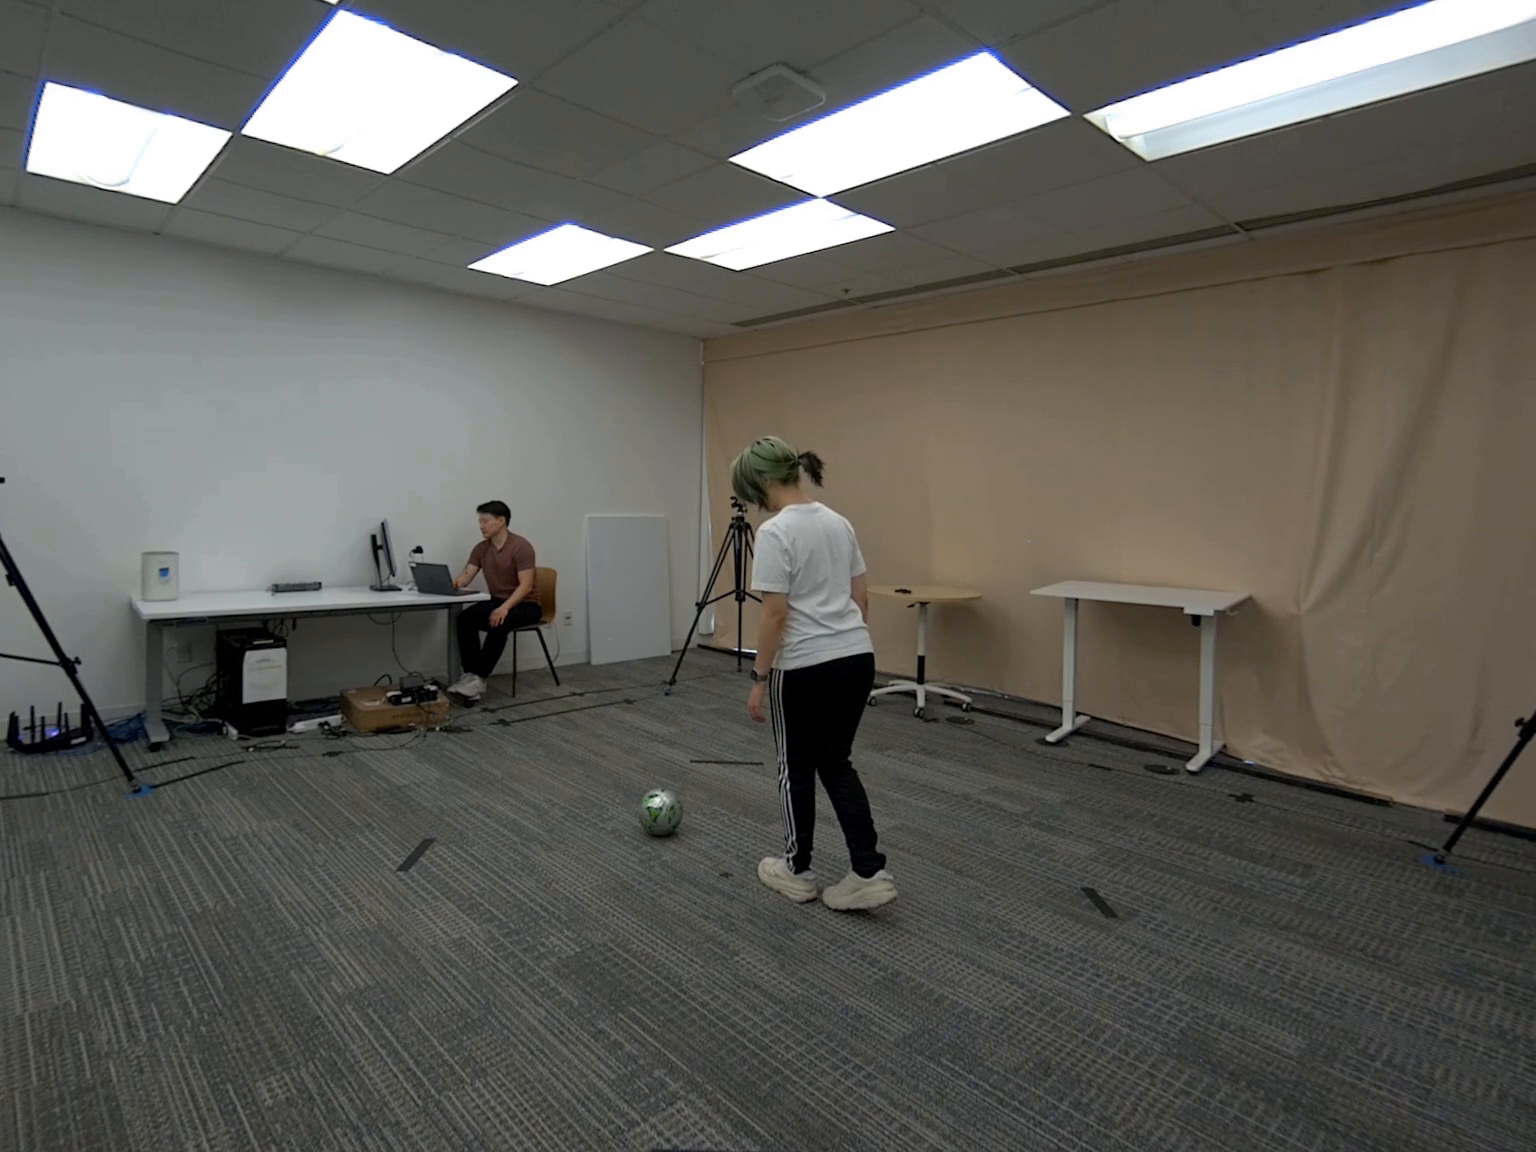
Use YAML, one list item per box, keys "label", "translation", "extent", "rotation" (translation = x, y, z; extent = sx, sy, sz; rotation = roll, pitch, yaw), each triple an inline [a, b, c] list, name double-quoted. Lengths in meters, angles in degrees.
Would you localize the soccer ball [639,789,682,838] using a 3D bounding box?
- label: "soccer ball"
  translation: [-0.448, 0.968, 3.465]
  extent: [0.187, 0.187, 0.188]
  rotation: [1, 4, -1]
